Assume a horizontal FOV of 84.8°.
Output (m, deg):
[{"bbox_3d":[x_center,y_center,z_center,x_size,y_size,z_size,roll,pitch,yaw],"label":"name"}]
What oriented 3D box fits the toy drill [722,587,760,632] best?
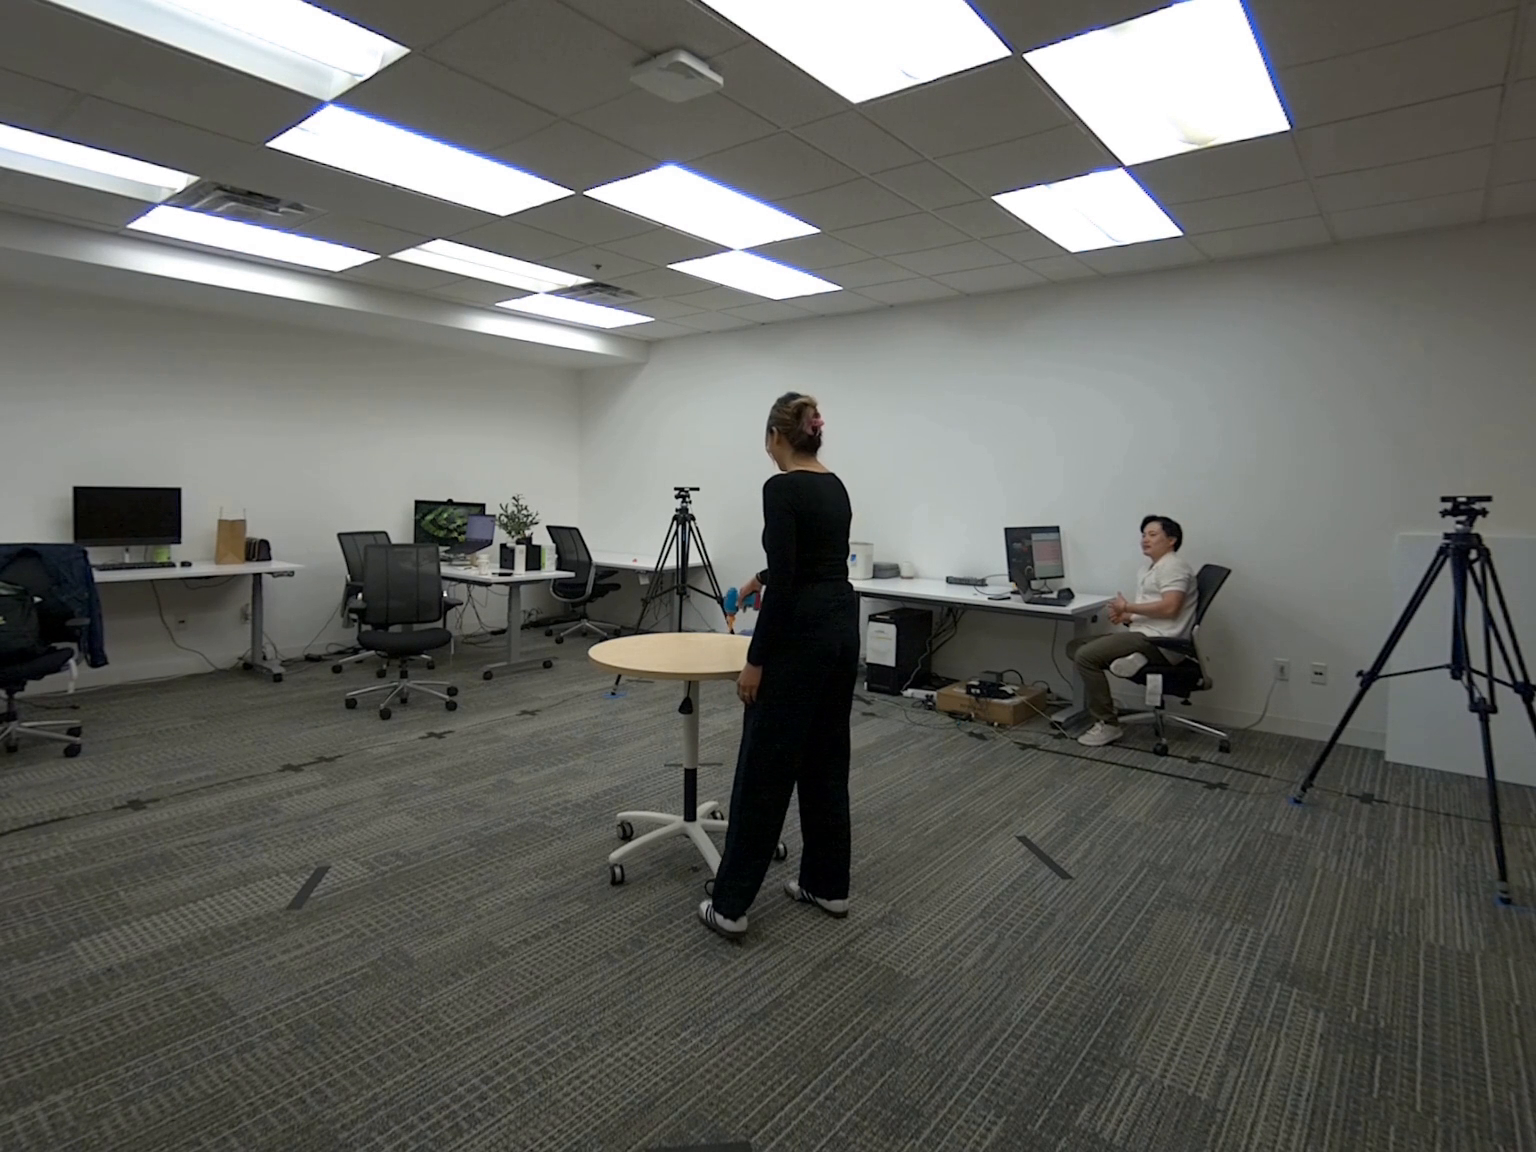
[{"bbox_3d":[-0.107,0.132,3.334,0.150,0.169,0.060,6,2,24],"label":"toy drill"}]
